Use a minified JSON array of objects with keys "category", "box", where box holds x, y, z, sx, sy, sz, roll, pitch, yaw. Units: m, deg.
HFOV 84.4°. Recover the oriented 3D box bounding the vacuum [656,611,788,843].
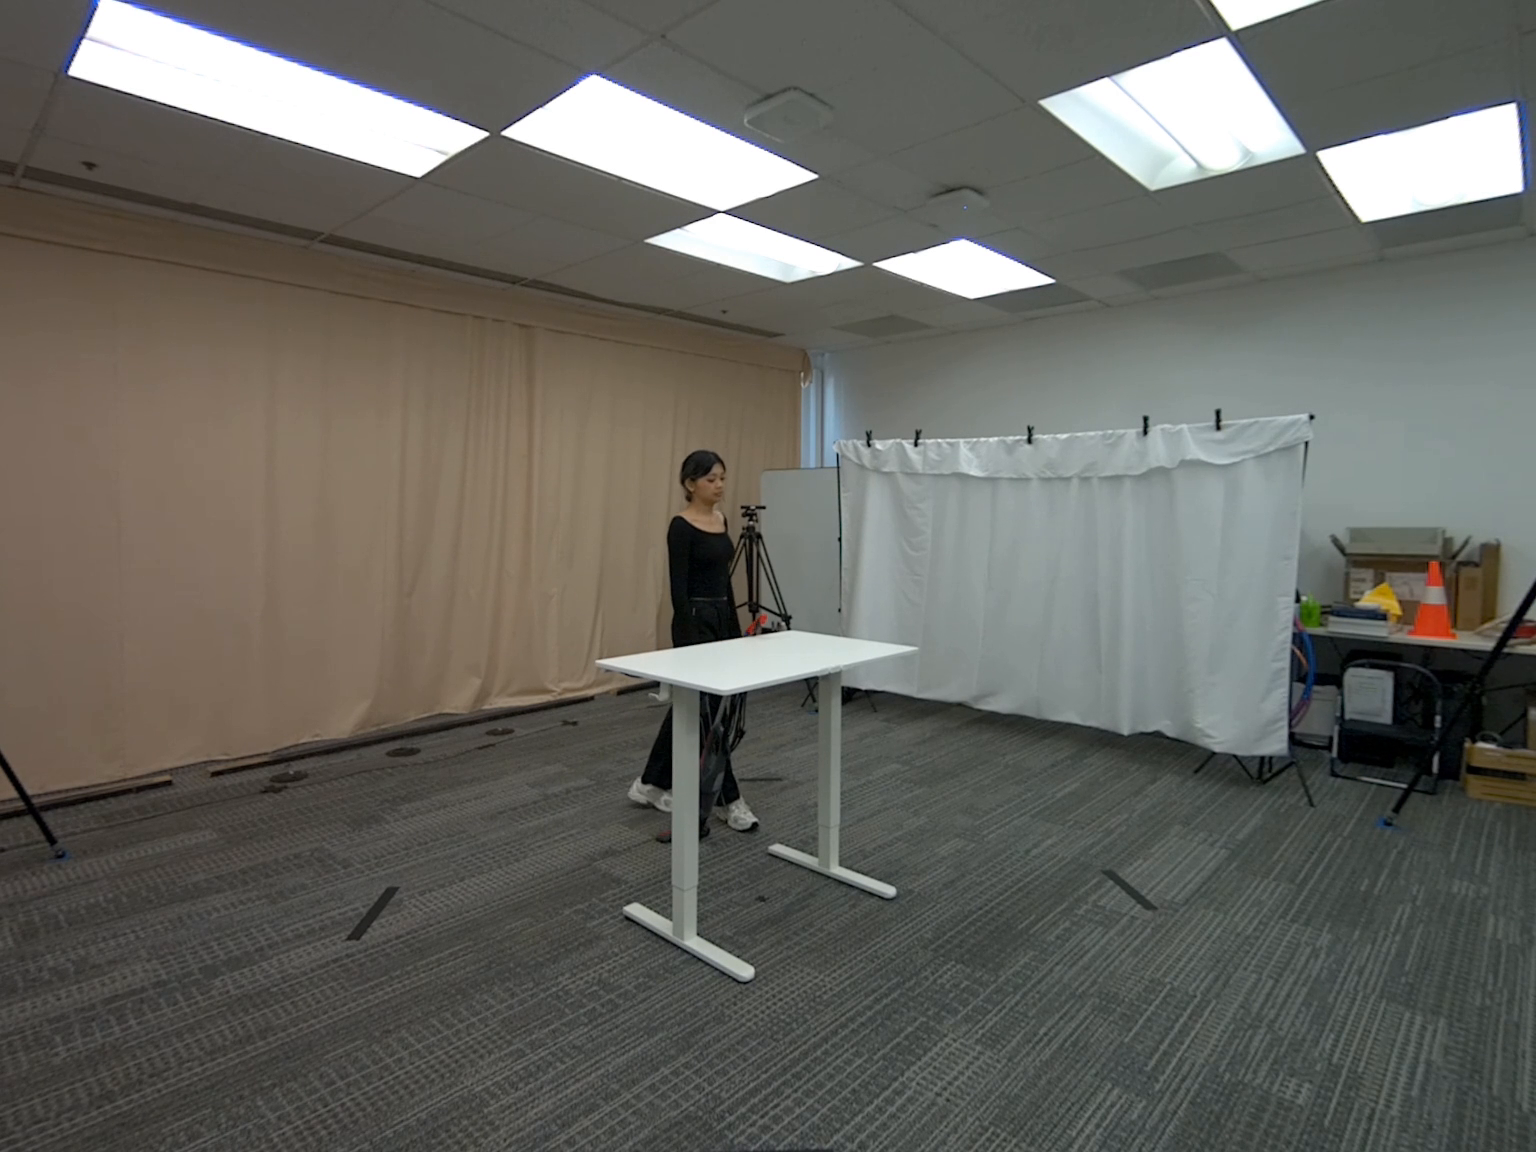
[{"category":"vacuum","box":[-0.180,0.627,3.397,0.244,1.045,0.149,4,23,-41]}]
